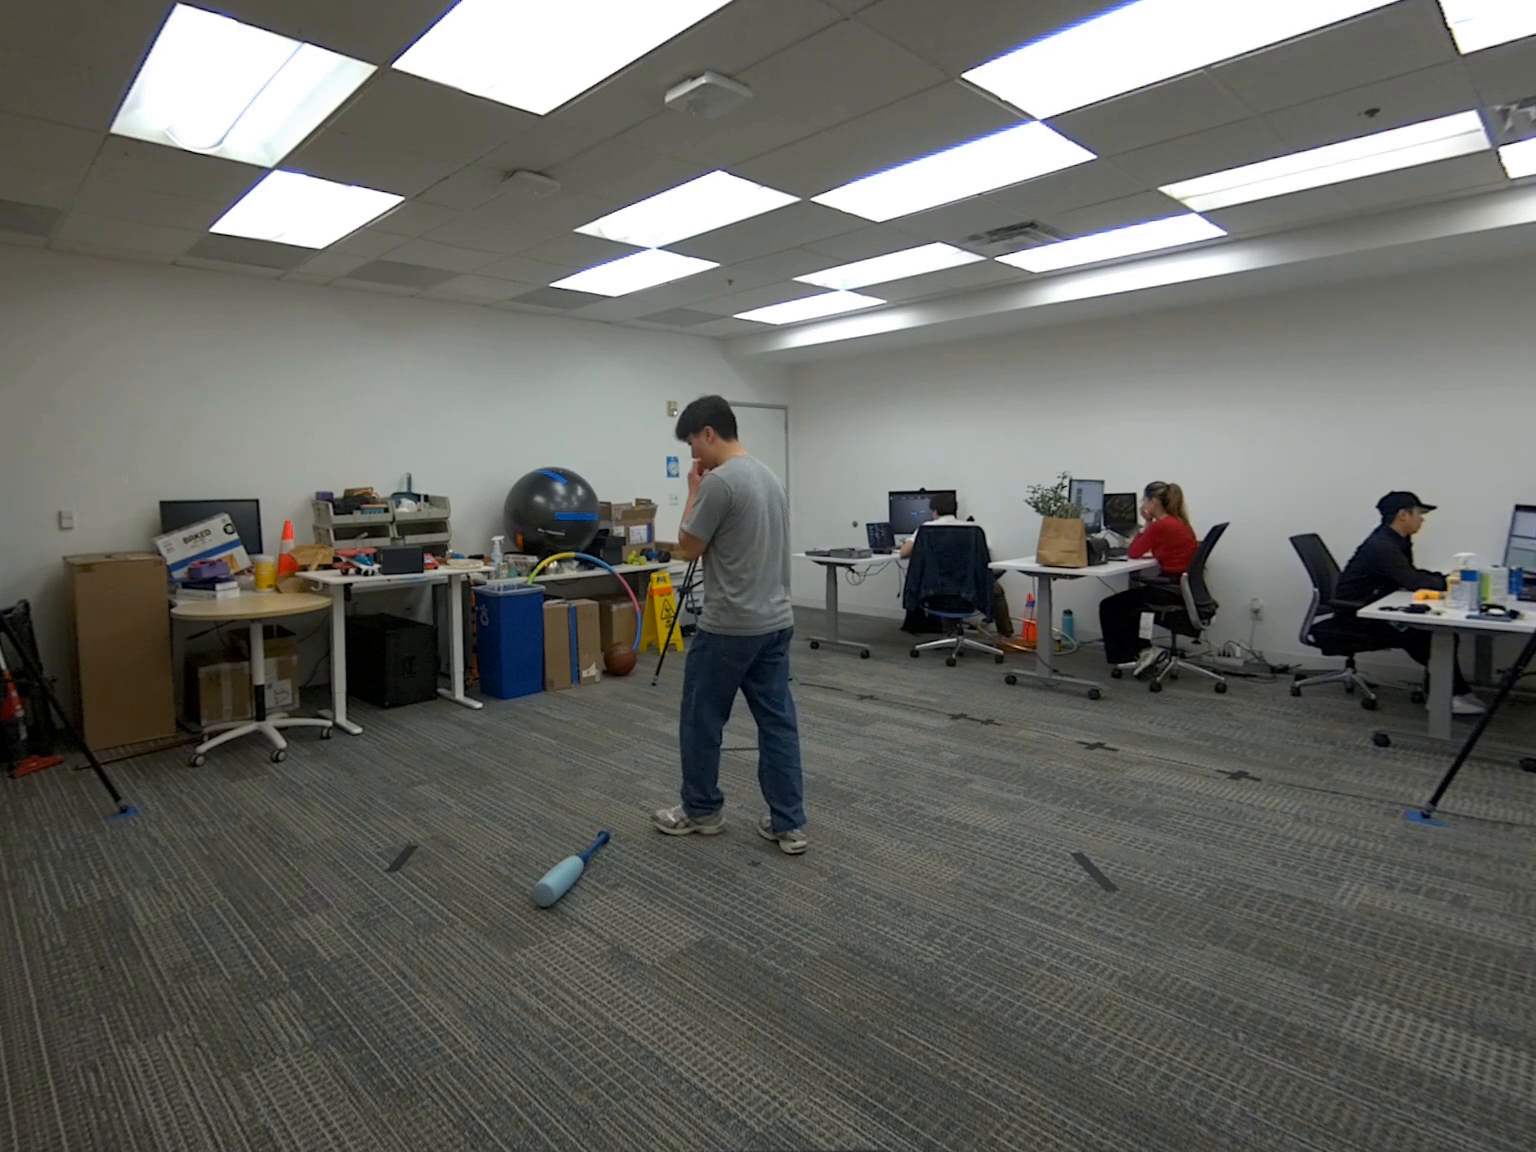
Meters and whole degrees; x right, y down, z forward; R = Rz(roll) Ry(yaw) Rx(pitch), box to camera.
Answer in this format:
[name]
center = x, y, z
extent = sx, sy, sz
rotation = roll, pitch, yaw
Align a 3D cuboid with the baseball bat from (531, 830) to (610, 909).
[baseball bat]
center = -0.682, 1.025, 3.052
extent = 0.090, 0.089, 0.538
rotation = 0, 4, 9
